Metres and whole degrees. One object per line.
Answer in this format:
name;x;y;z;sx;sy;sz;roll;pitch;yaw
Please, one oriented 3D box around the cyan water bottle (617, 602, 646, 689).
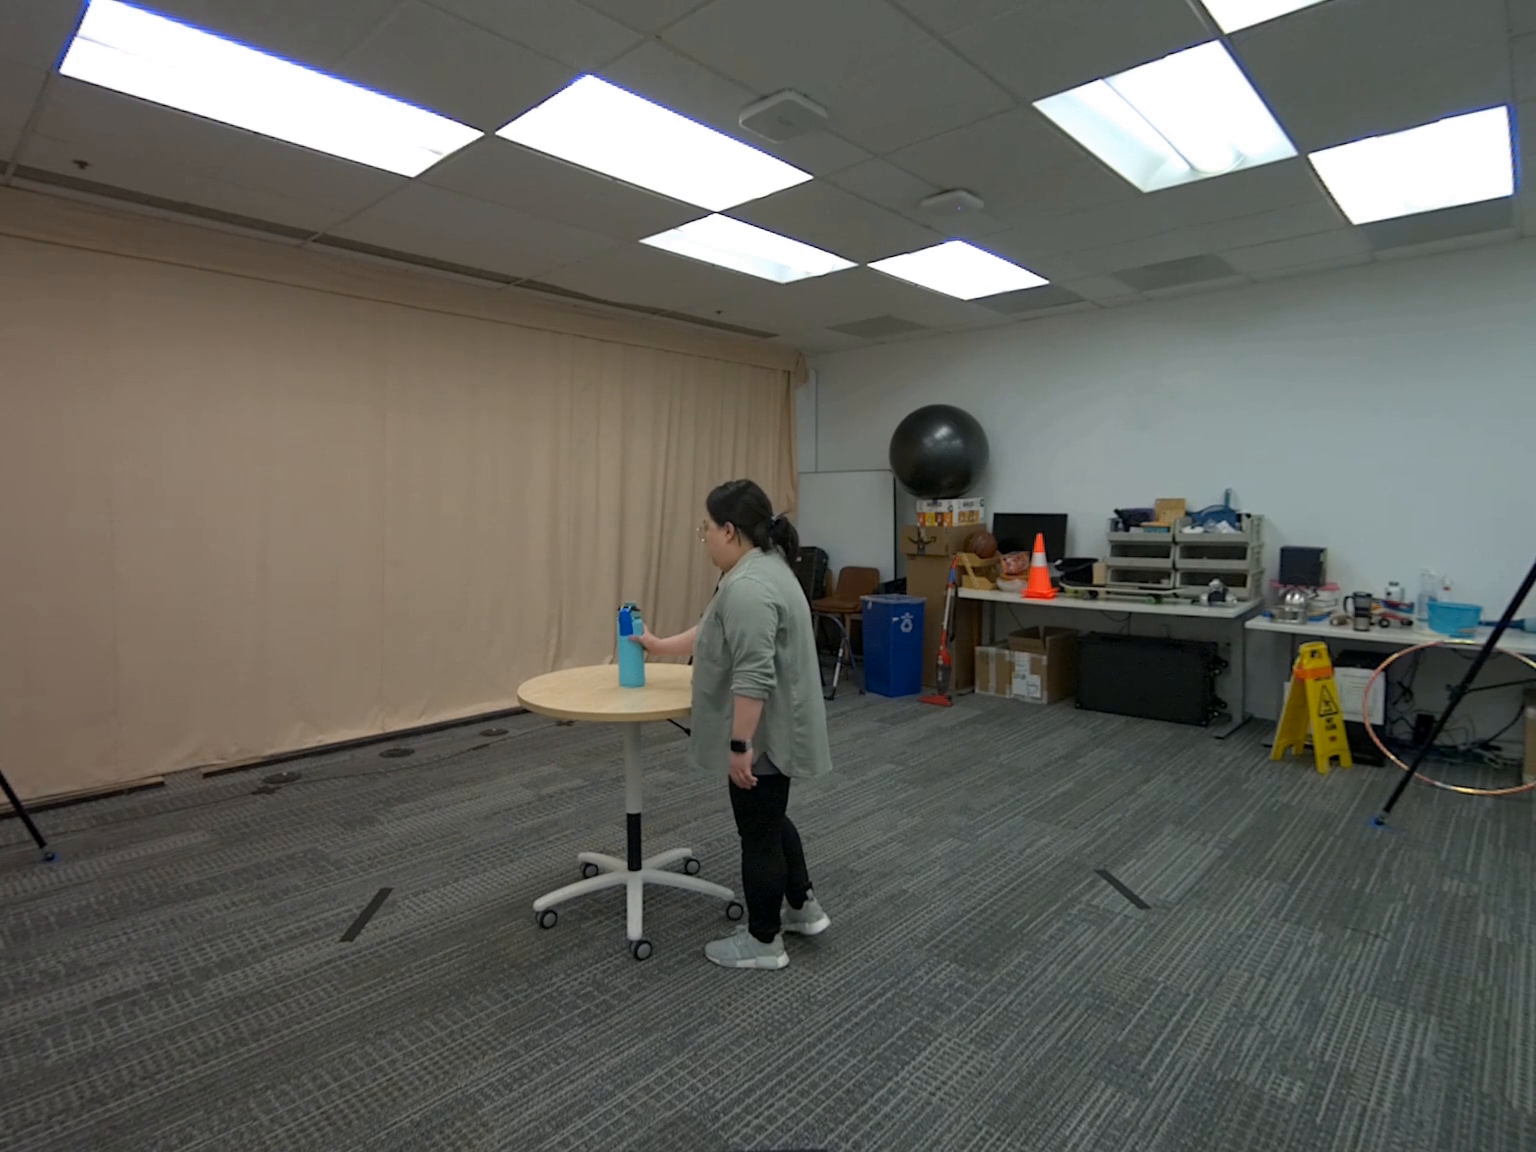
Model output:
cyan water bottle;-0.468;0.233;2.873;0.092;0.283;0.093;0;4;-2
